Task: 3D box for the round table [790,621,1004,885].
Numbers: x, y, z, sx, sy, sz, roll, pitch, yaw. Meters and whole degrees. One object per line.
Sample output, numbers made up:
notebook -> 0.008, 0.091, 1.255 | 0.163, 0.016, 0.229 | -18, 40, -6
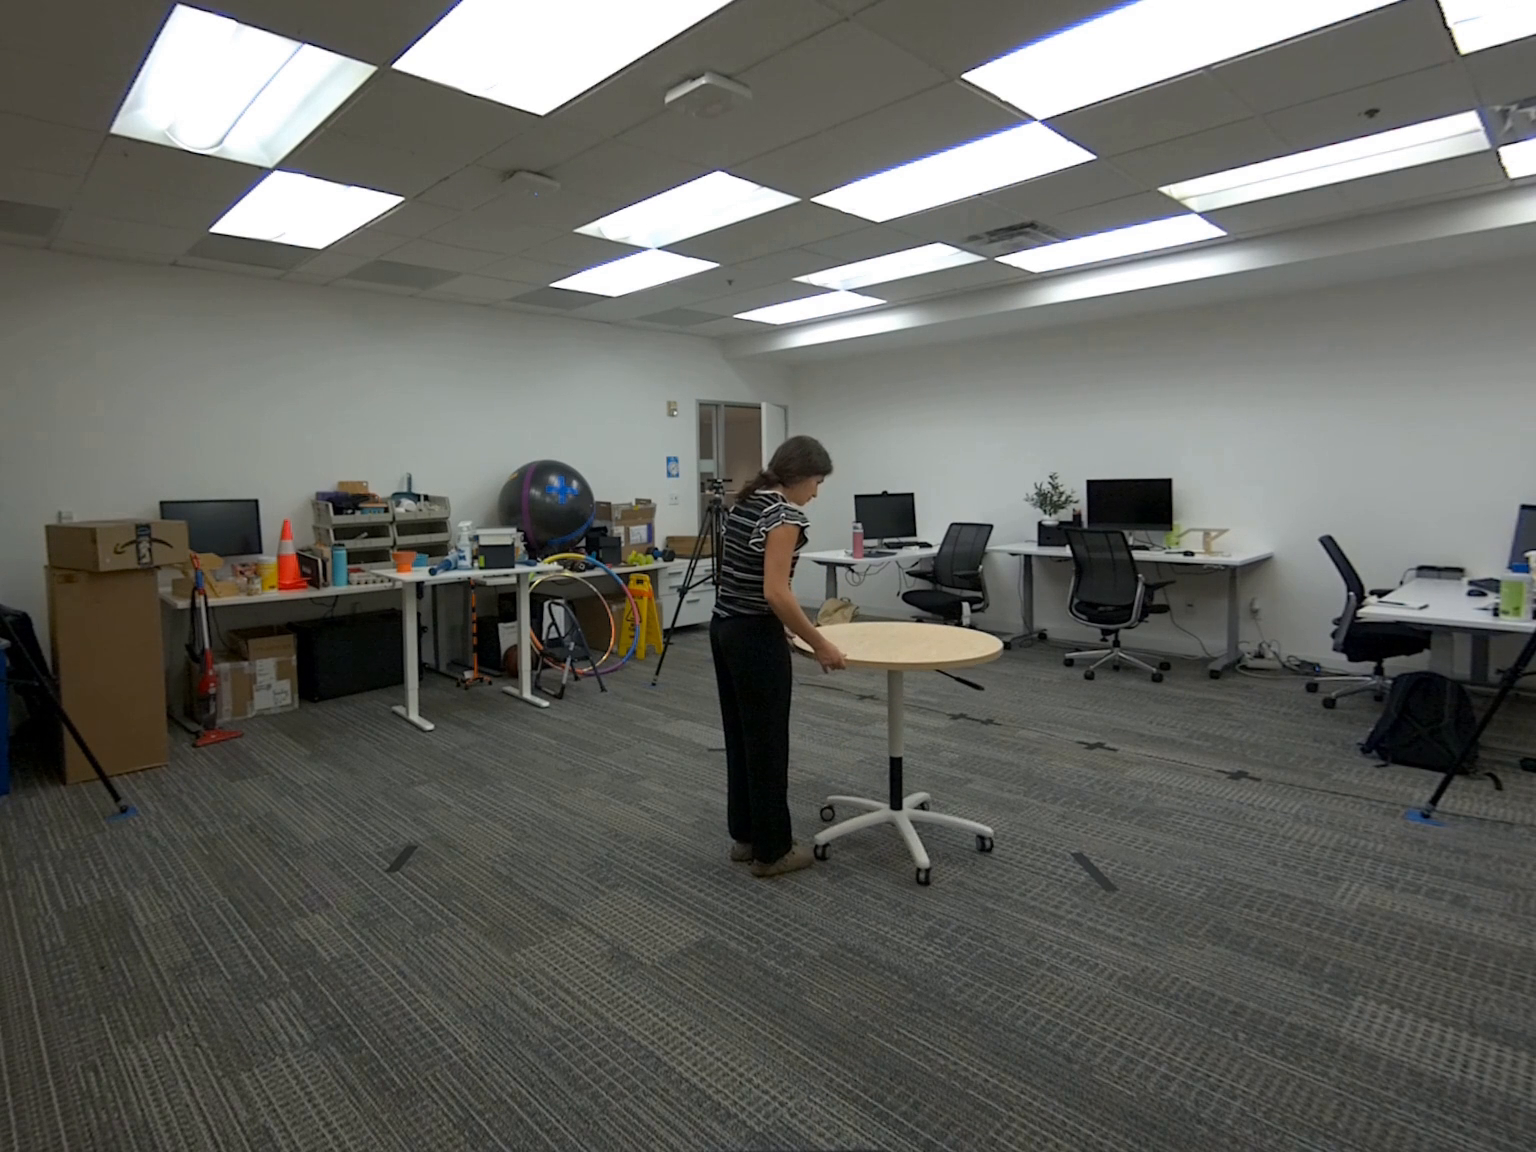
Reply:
round table -> 0.464, 0.626, 3.220 | 0.784, 0.783, 0.789 | -1, 5, -2
